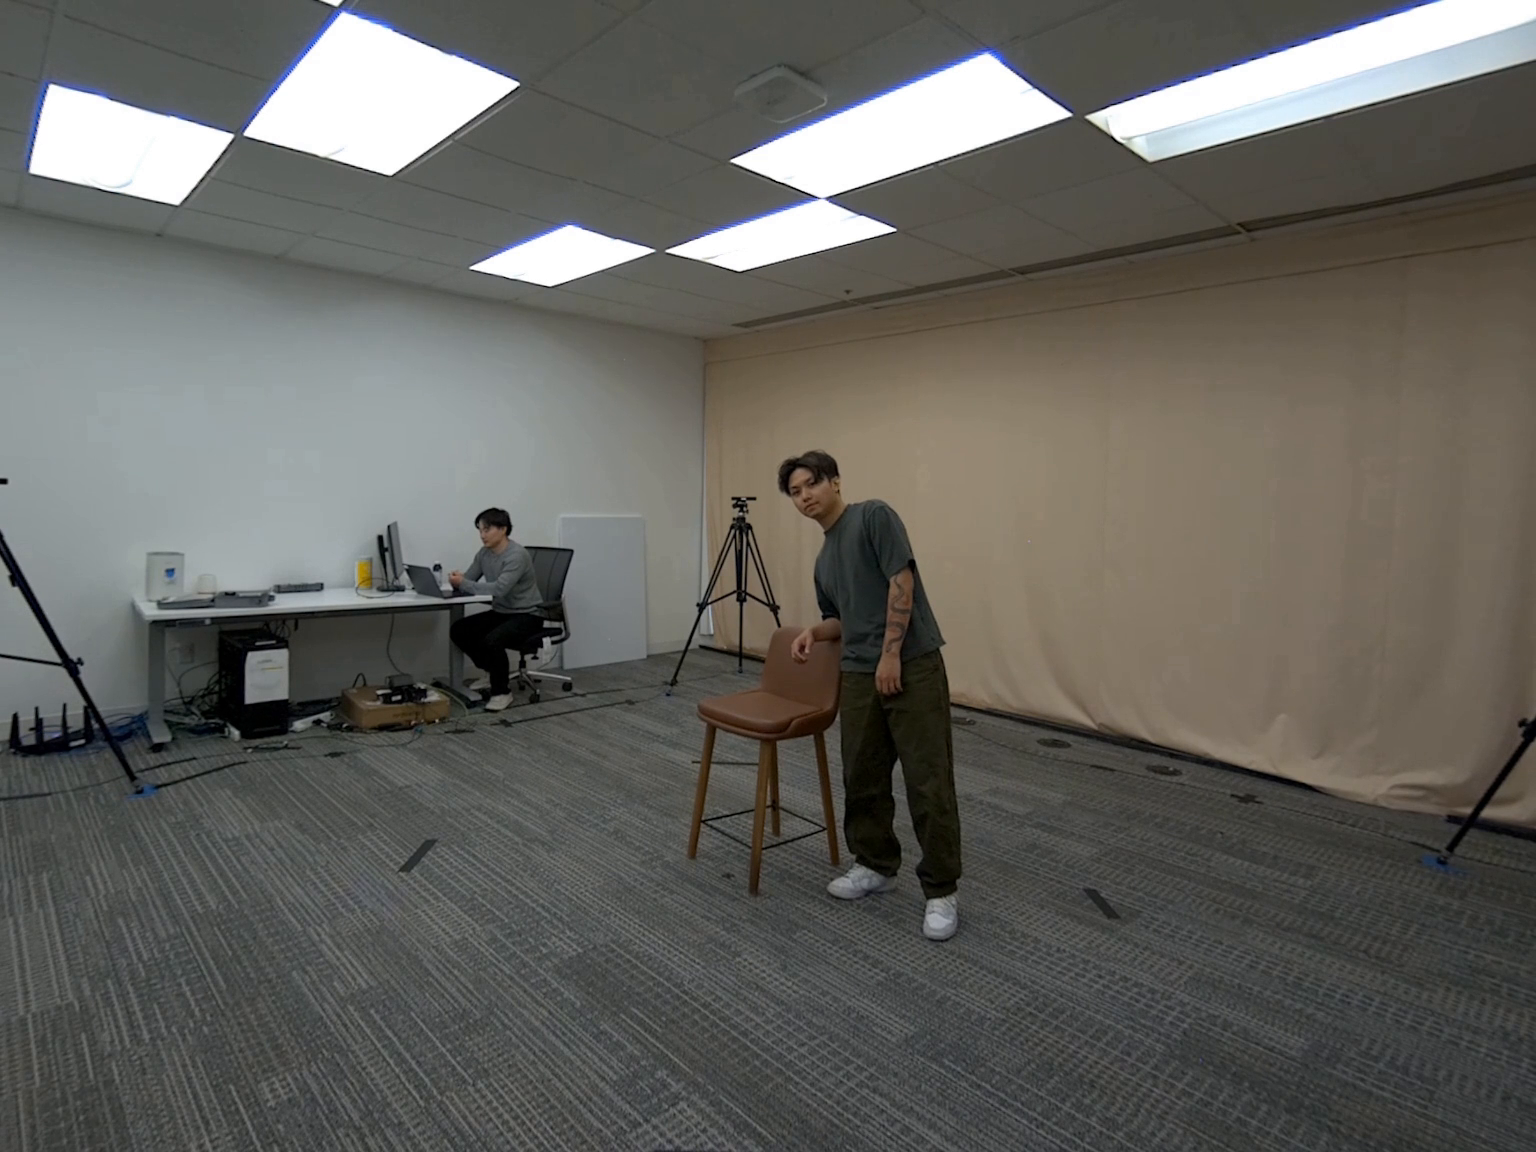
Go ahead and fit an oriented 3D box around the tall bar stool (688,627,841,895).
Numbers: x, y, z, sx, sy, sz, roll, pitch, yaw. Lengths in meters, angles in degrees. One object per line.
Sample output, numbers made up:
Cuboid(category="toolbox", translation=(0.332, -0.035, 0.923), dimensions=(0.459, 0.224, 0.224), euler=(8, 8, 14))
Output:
Cuboid(category="tall bar stool", translation=(-0.003, 0.662, 3.226), dimensions=(0.456, 0.889, 0.468), euler=(1, 2, -39))
